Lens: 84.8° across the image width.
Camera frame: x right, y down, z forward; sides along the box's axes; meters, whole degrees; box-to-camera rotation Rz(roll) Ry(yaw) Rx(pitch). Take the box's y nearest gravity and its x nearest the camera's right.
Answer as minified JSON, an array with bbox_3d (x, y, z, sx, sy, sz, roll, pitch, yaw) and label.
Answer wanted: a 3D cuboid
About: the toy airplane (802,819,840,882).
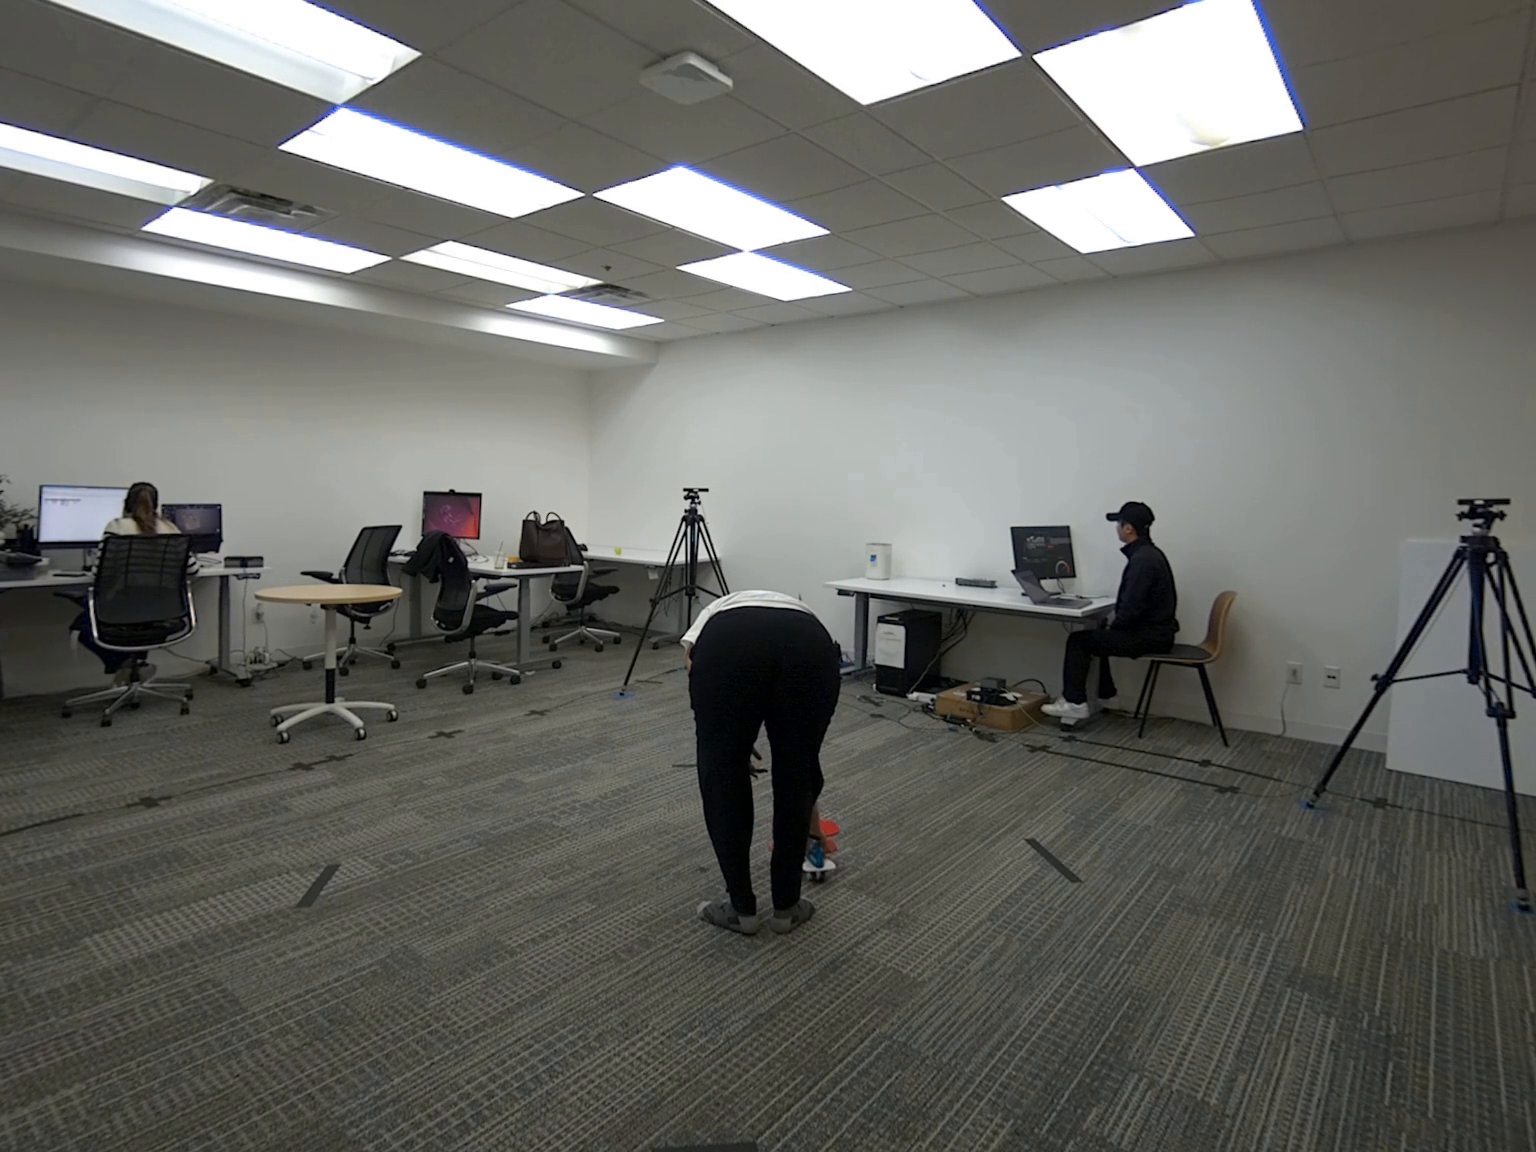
[{"bbox_3d":[0.158,1.004,3.133,0.243,0.156,0.268,-1,6,-43],"label":"toy airplane"}]
